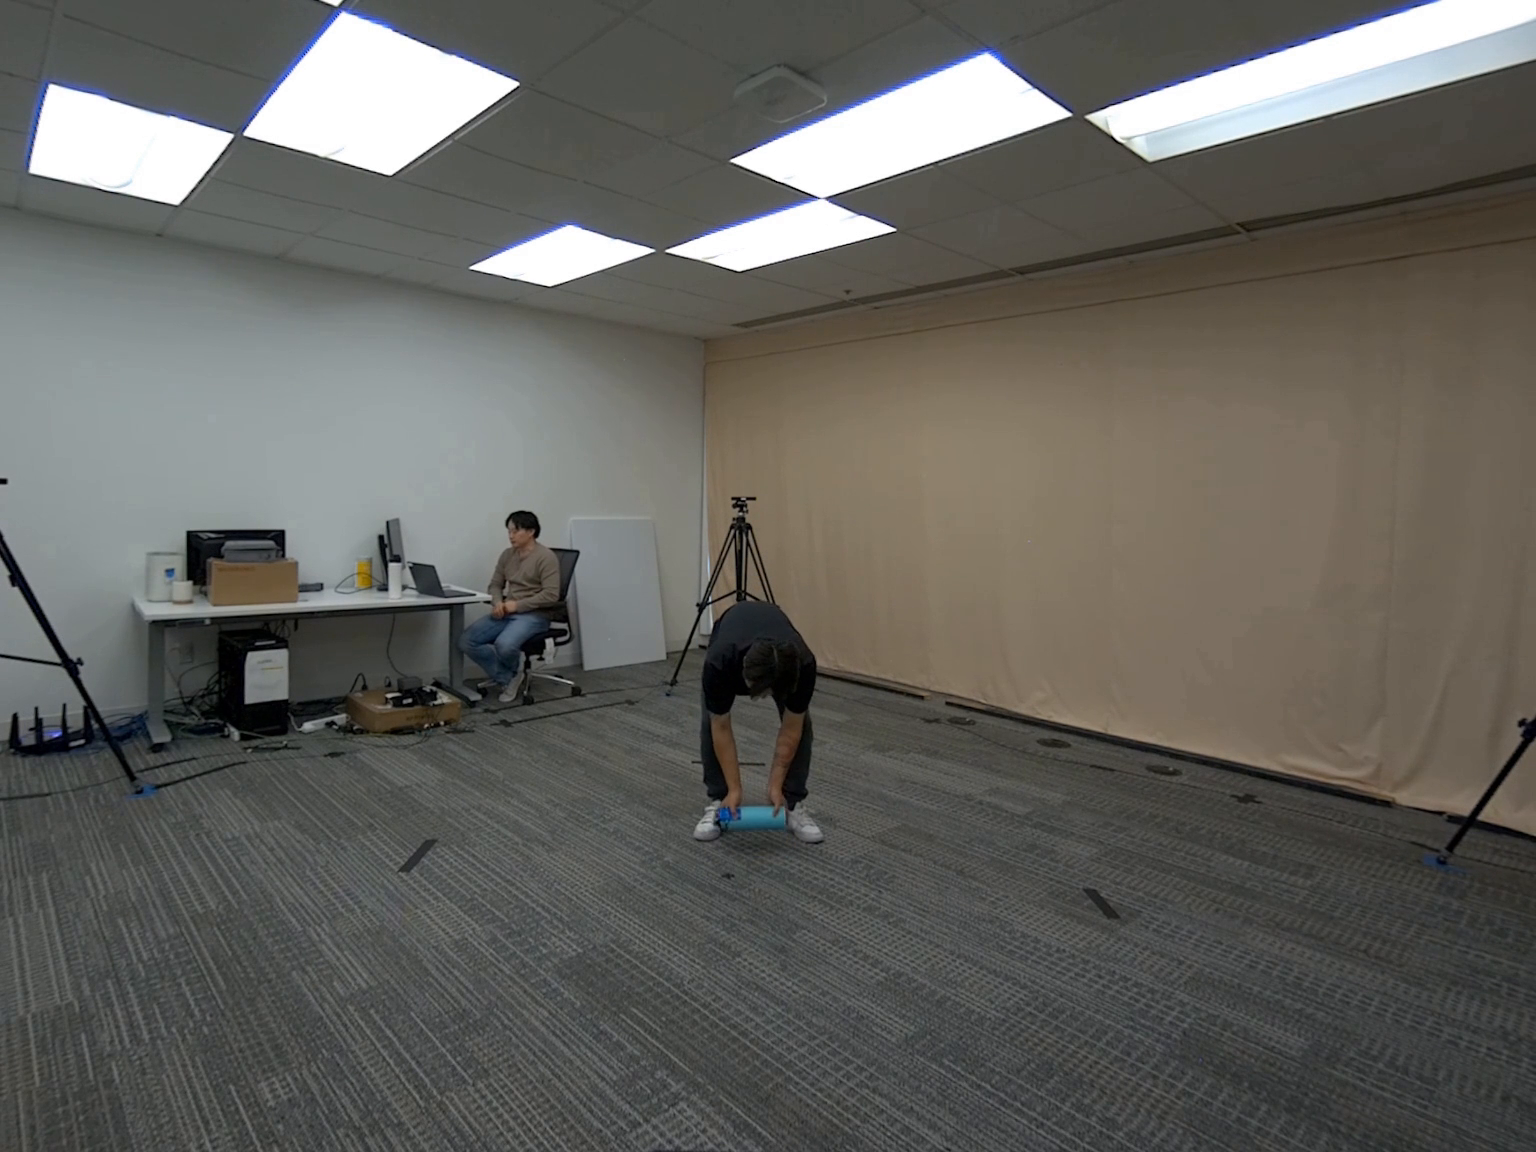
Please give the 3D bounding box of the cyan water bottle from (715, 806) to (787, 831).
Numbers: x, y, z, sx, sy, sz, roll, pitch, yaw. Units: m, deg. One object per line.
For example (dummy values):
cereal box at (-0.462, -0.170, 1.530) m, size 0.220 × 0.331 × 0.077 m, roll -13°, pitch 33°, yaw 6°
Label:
cyan water bottle at (-0.091, 0.962, 3.329) m, size 0.283 × 0.092 × 0.093 m, roll 1°, pitch 4°, yaw -2°
